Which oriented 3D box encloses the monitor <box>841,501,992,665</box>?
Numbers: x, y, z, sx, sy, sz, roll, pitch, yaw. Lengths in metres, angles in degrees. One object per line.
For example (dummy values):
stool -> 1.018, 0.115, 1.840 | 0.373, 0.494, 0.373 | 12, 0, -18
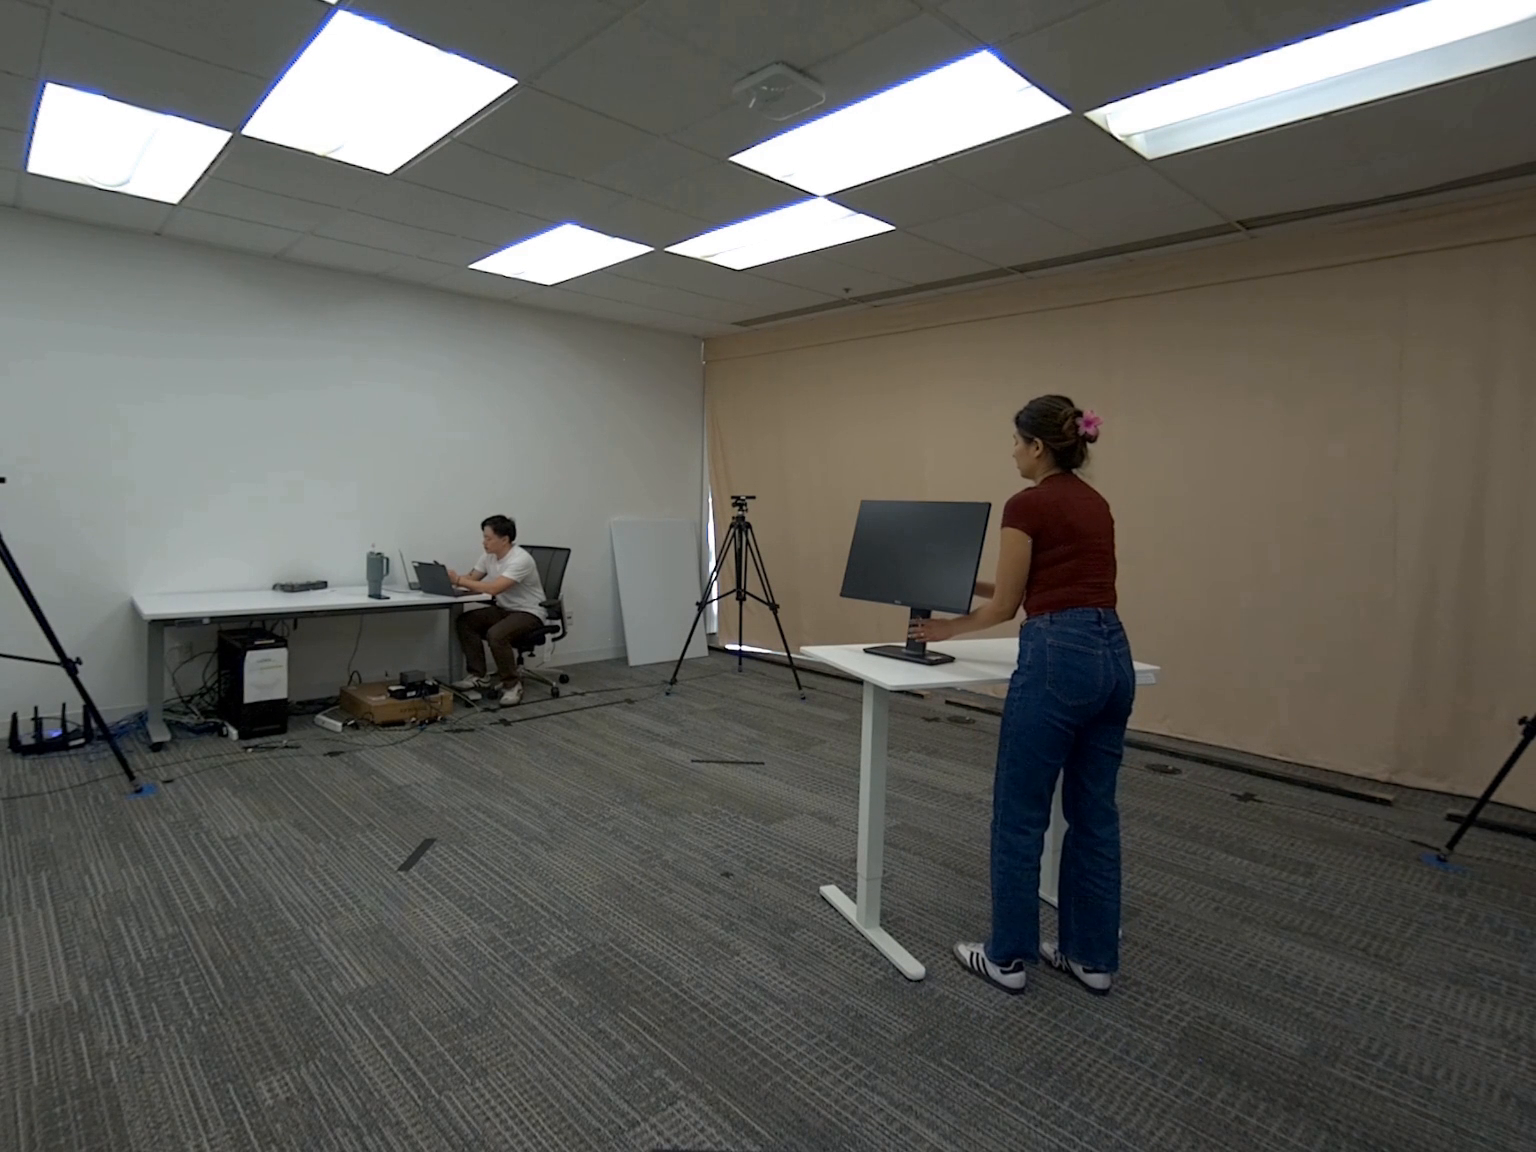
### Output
monitor -> 0.477, 0.015, 2.766 | 0.182, 0.522, 0.553 | 2, 3, -40
